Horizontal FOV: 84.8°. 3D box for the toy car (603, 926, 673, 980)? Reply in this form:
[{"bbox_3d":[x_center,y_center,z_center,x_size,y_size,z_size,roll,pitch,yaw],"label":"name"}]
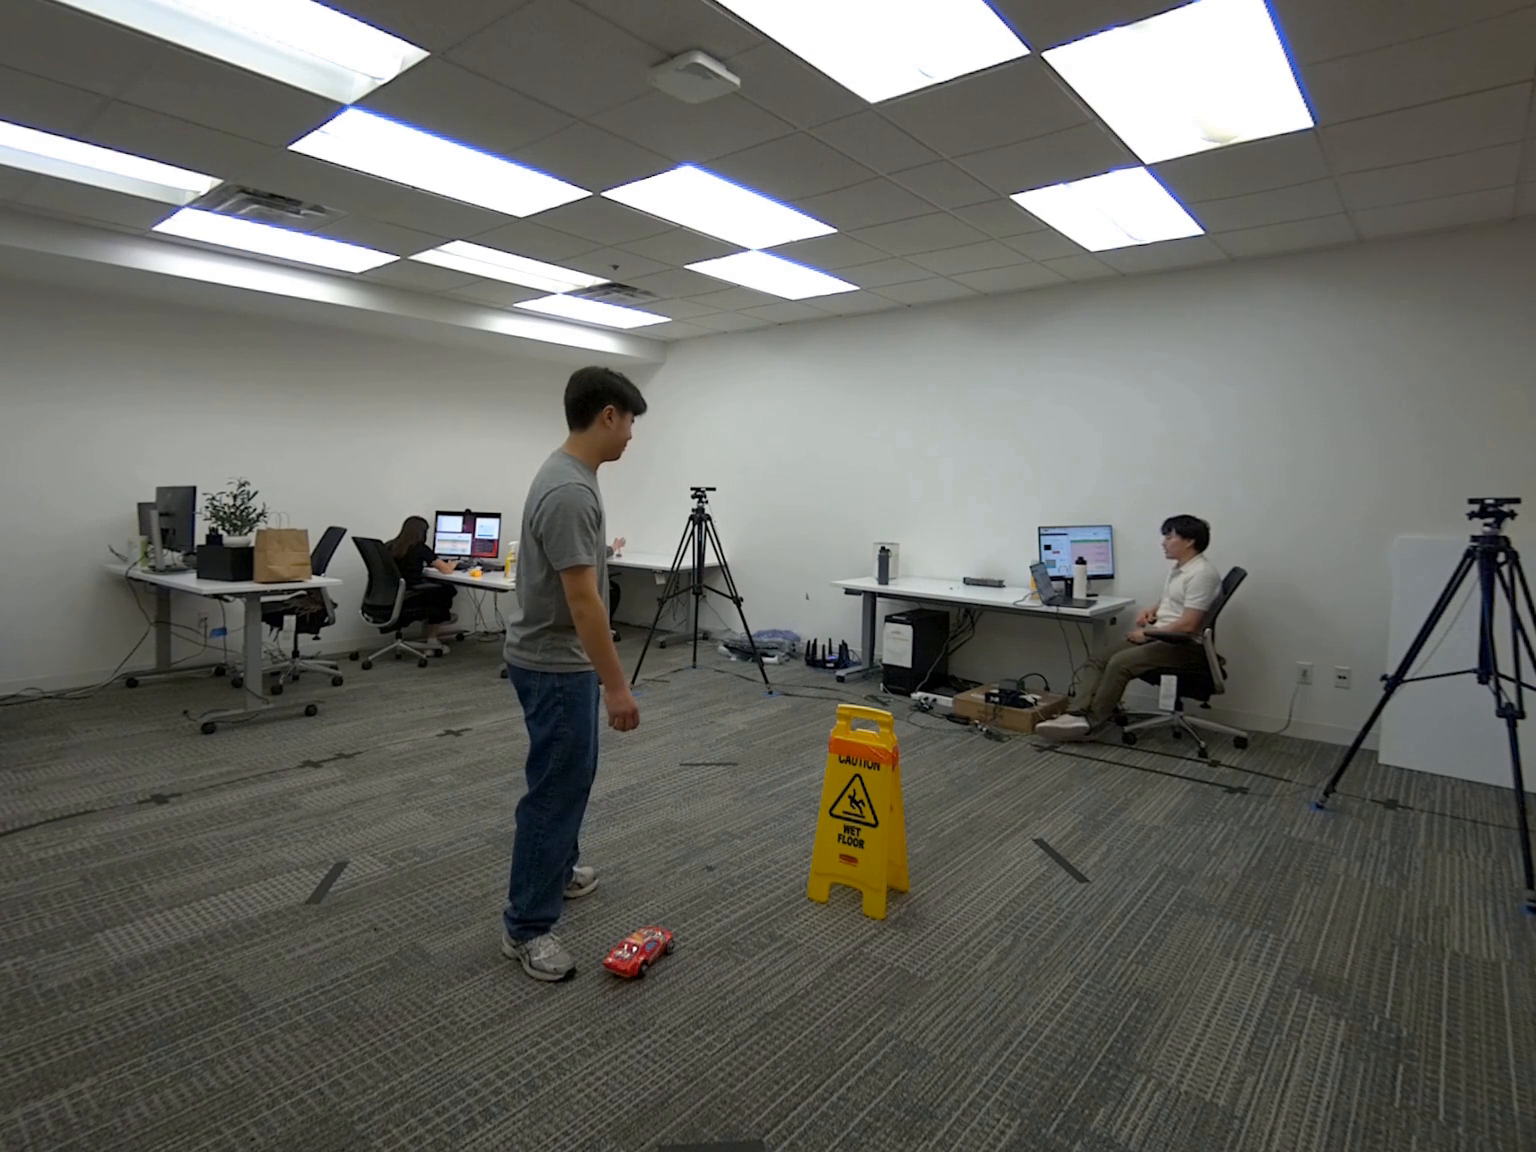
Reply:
[{"bbox_3d":[-0.393,1.094,2.469,0.134,0.083,0.246,5,-4,26],"label":"toy car"}]
